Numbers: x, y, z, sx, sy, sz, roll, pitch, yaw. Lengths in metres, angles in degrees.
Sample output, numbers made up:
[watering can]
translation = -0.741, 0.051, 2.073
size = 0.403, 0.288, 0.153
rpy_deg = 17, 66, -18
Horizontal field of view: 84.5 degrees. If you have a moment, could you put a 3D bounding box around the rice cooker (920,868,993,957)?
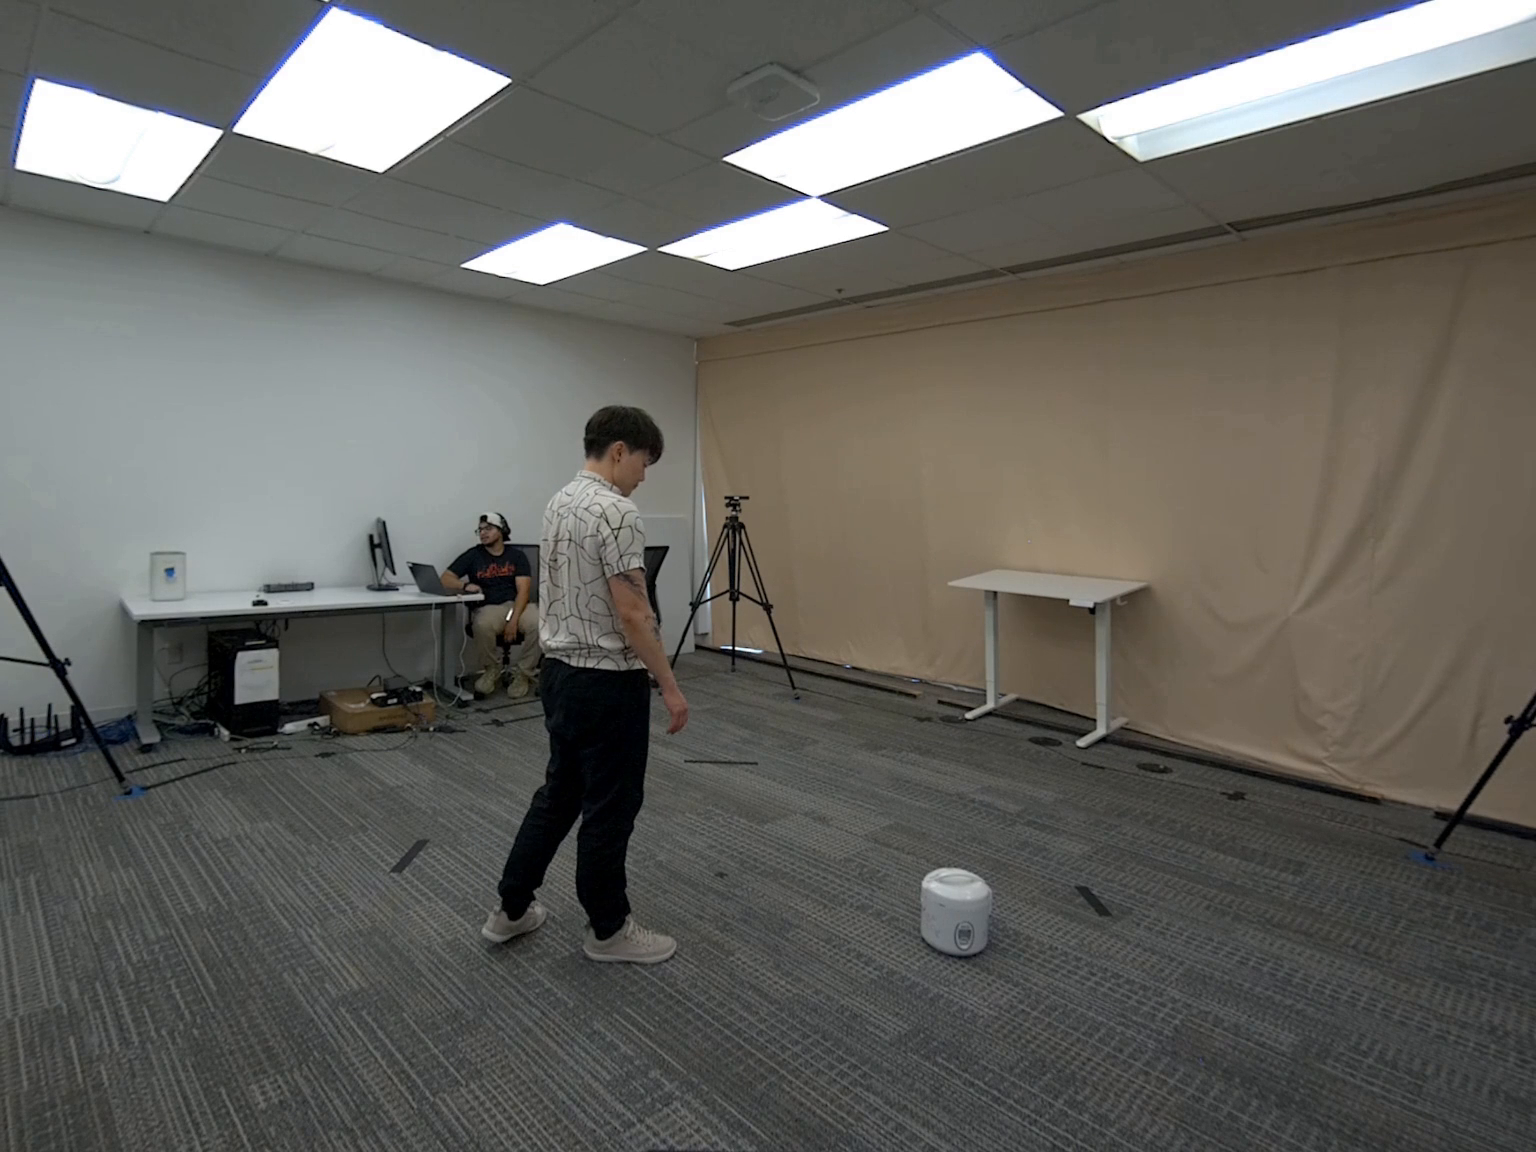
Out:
[rice cooker]
translation = 0.587, 1.046, 2.661
size = 0.220, 0.232, 0.218
rpy_deg = 1, 4, -2
